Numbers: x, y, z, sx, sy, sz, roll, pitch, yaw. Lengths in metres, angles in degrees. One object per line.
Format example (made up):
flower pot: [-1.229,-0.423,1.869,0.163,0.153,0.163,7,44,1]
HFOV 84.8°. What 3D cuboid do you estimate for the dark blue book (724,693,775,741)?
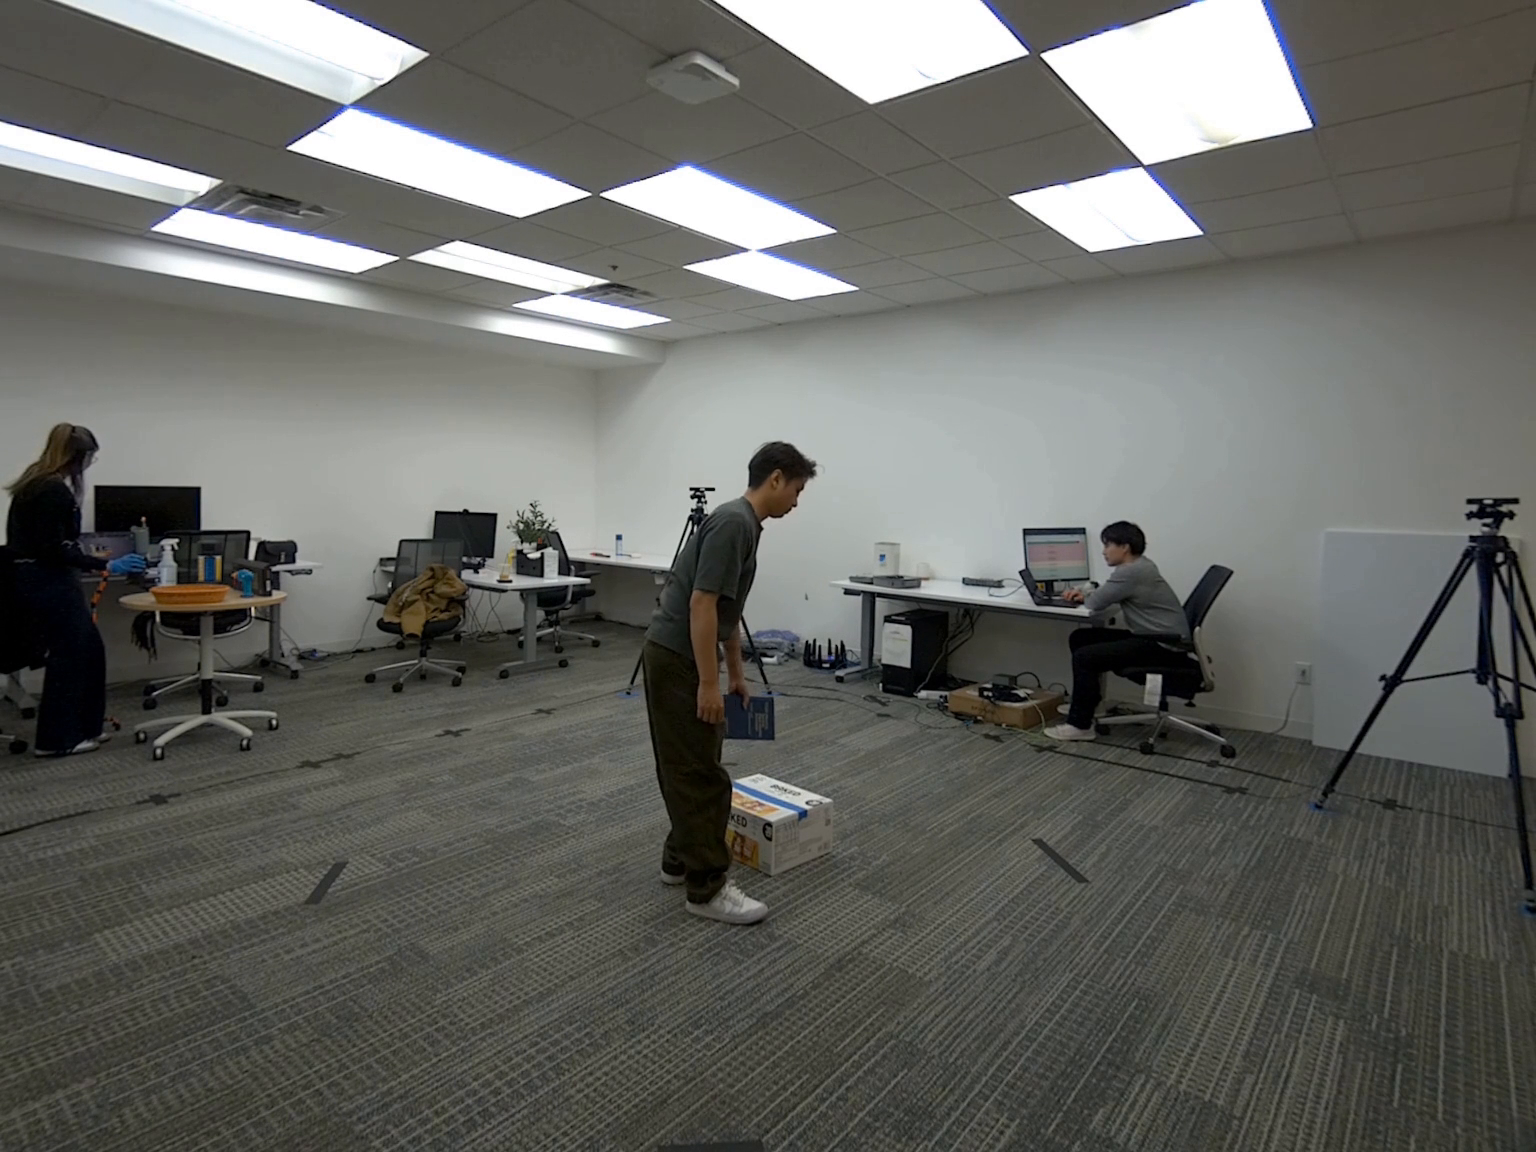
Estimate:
dark blue book: [-0.090,0.530,3.190,0.237,0.165,0.046,8,-16,-31]
